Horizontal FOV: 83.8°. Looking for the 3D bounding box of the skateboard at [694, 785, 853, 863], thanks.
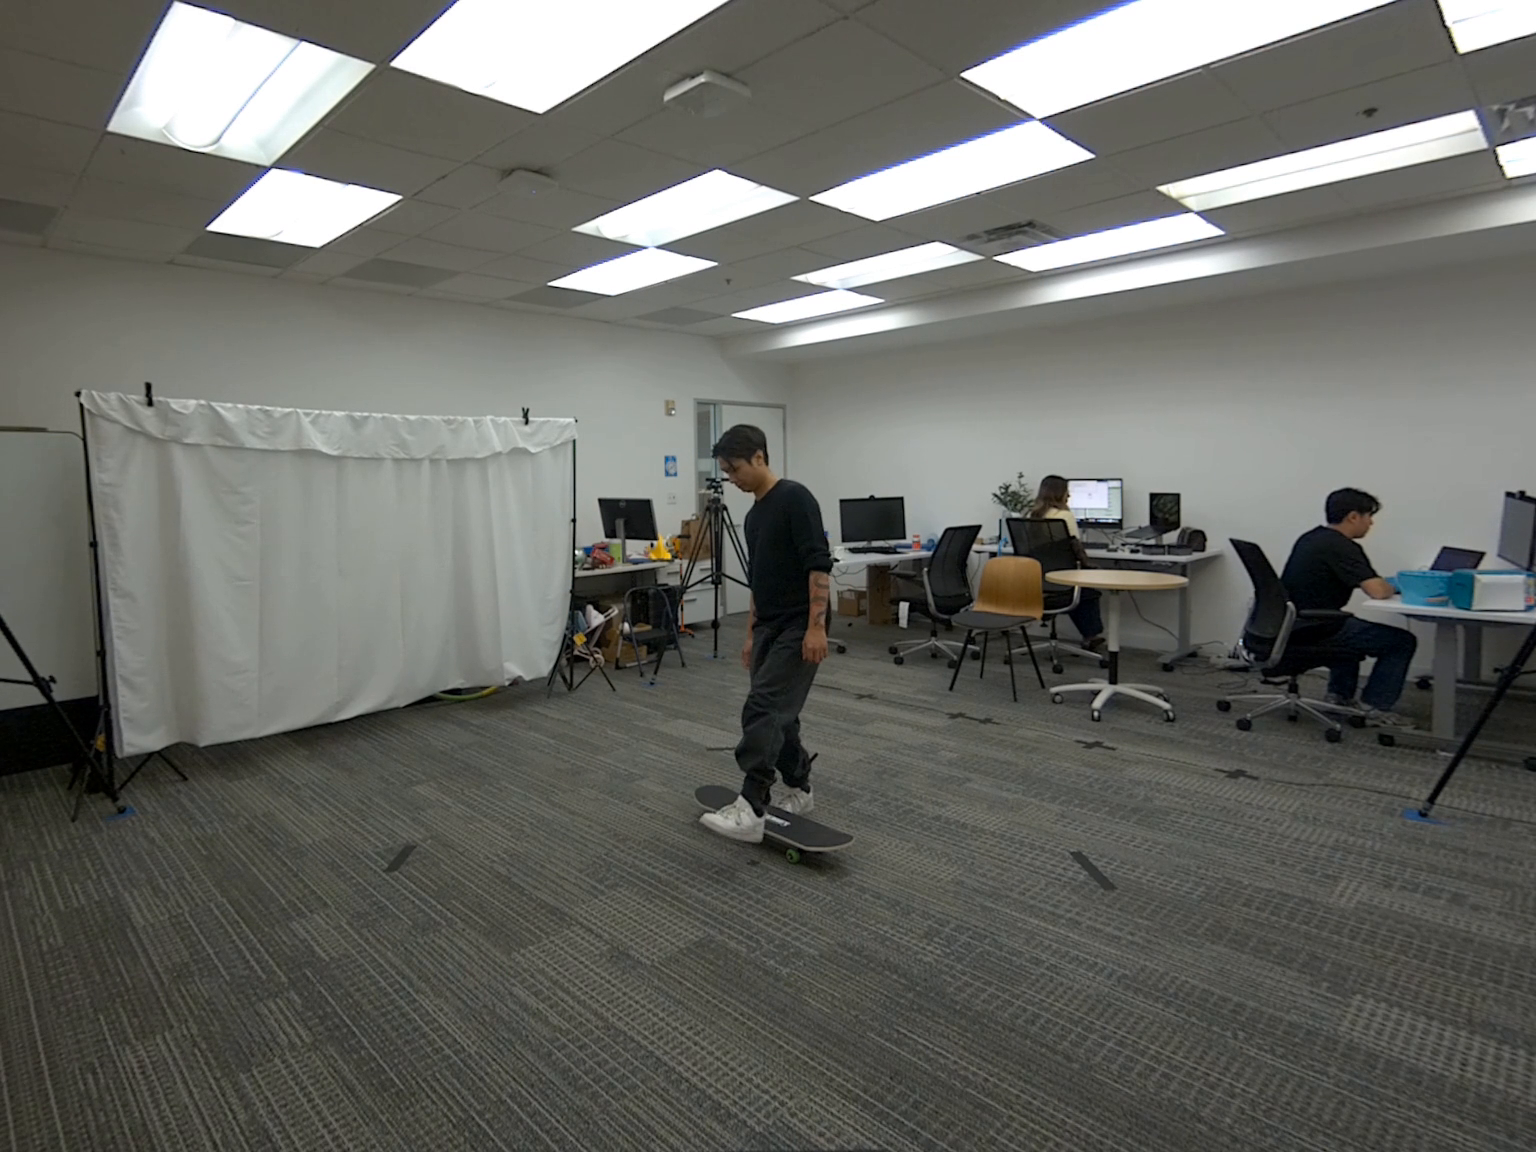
[{"bbox_3d":[0.005,0.962,3.299,0.188,0.110,0.810,-7,9,-43],"label":"skateboard"}]
